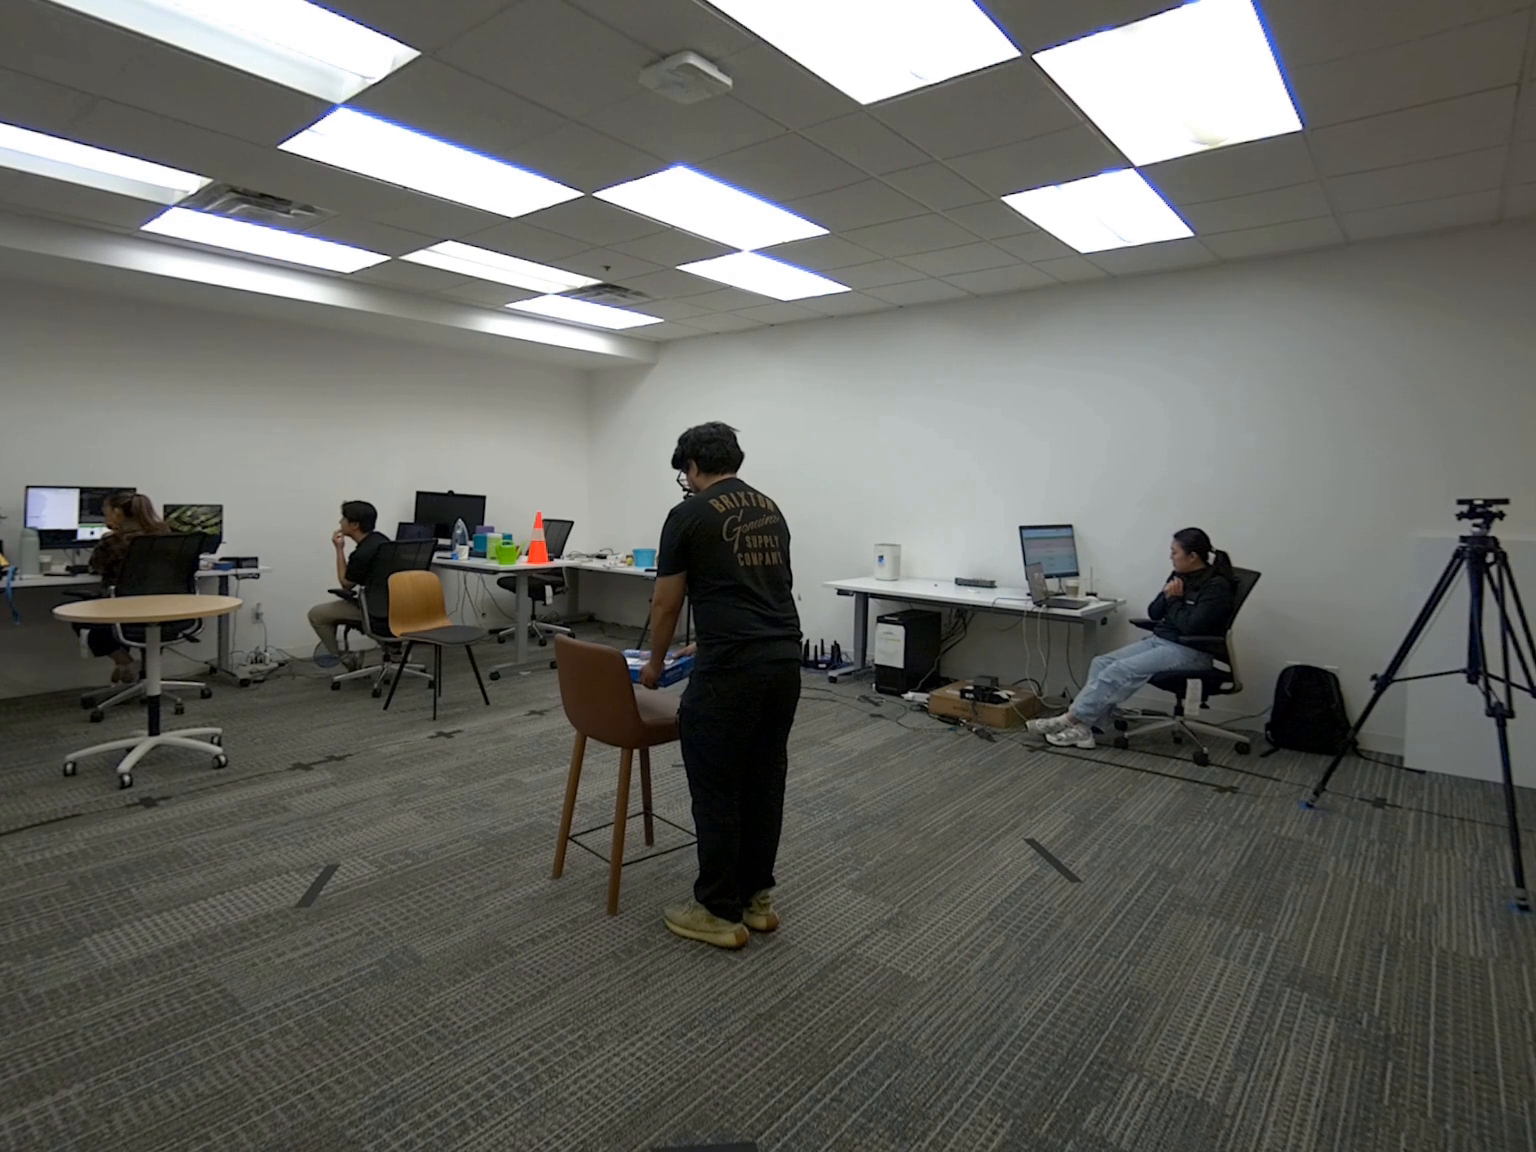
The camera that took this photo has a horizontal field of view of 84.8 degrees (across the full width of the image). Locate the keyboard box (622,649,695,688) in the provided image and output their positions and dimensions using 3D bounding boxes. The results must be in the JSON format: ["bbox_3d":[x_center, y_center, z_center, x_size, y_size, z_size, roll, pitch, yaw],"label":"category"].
[{"bbox_3d":[-0.450,0.326,3.069,0.172,0.058,0.449,-21,12,-40],"label":"keyboard box"}]
